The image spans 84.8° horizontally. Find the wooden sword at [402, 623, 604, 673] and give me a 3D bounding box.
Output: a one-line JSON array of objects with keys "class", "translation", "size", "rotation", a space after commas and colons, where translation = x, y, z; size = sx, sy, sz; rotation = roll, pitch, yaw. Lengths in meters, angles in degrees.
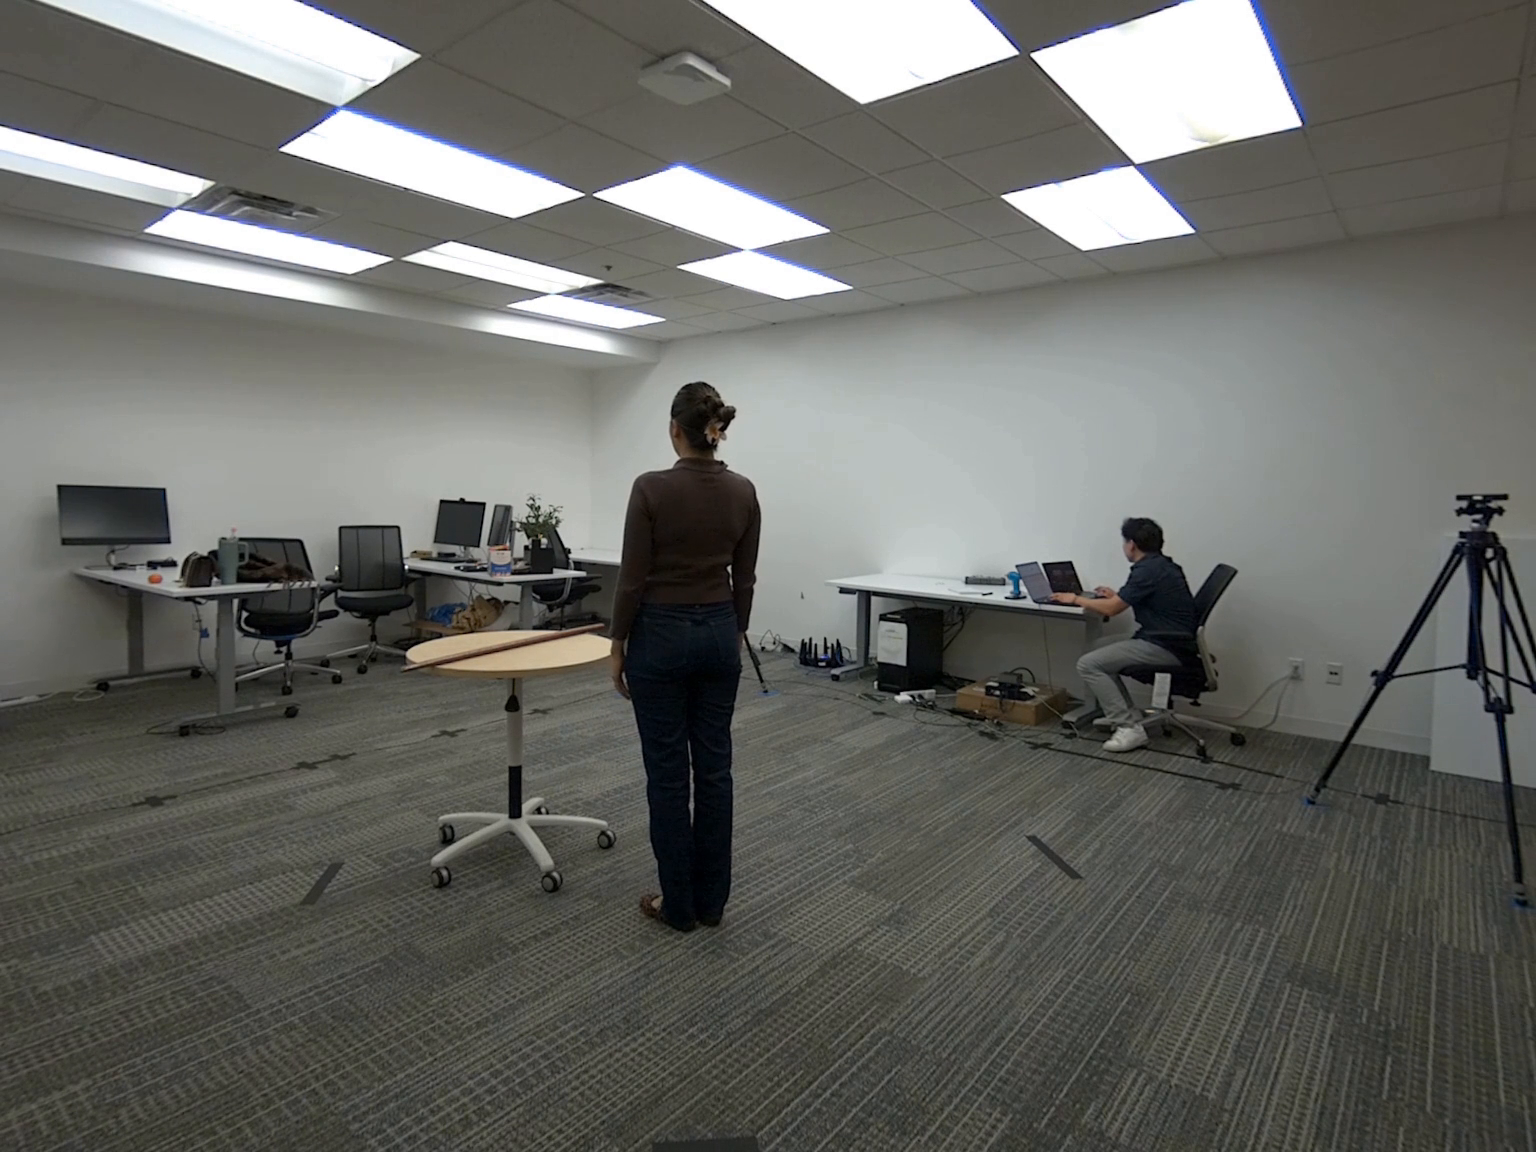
[{"class": "wooden sword", "translation": [-0.965, 0.262, 3.200], "size": [0.024, 0.052, 1.000], "rotation": [-34, -11, 27]}]
